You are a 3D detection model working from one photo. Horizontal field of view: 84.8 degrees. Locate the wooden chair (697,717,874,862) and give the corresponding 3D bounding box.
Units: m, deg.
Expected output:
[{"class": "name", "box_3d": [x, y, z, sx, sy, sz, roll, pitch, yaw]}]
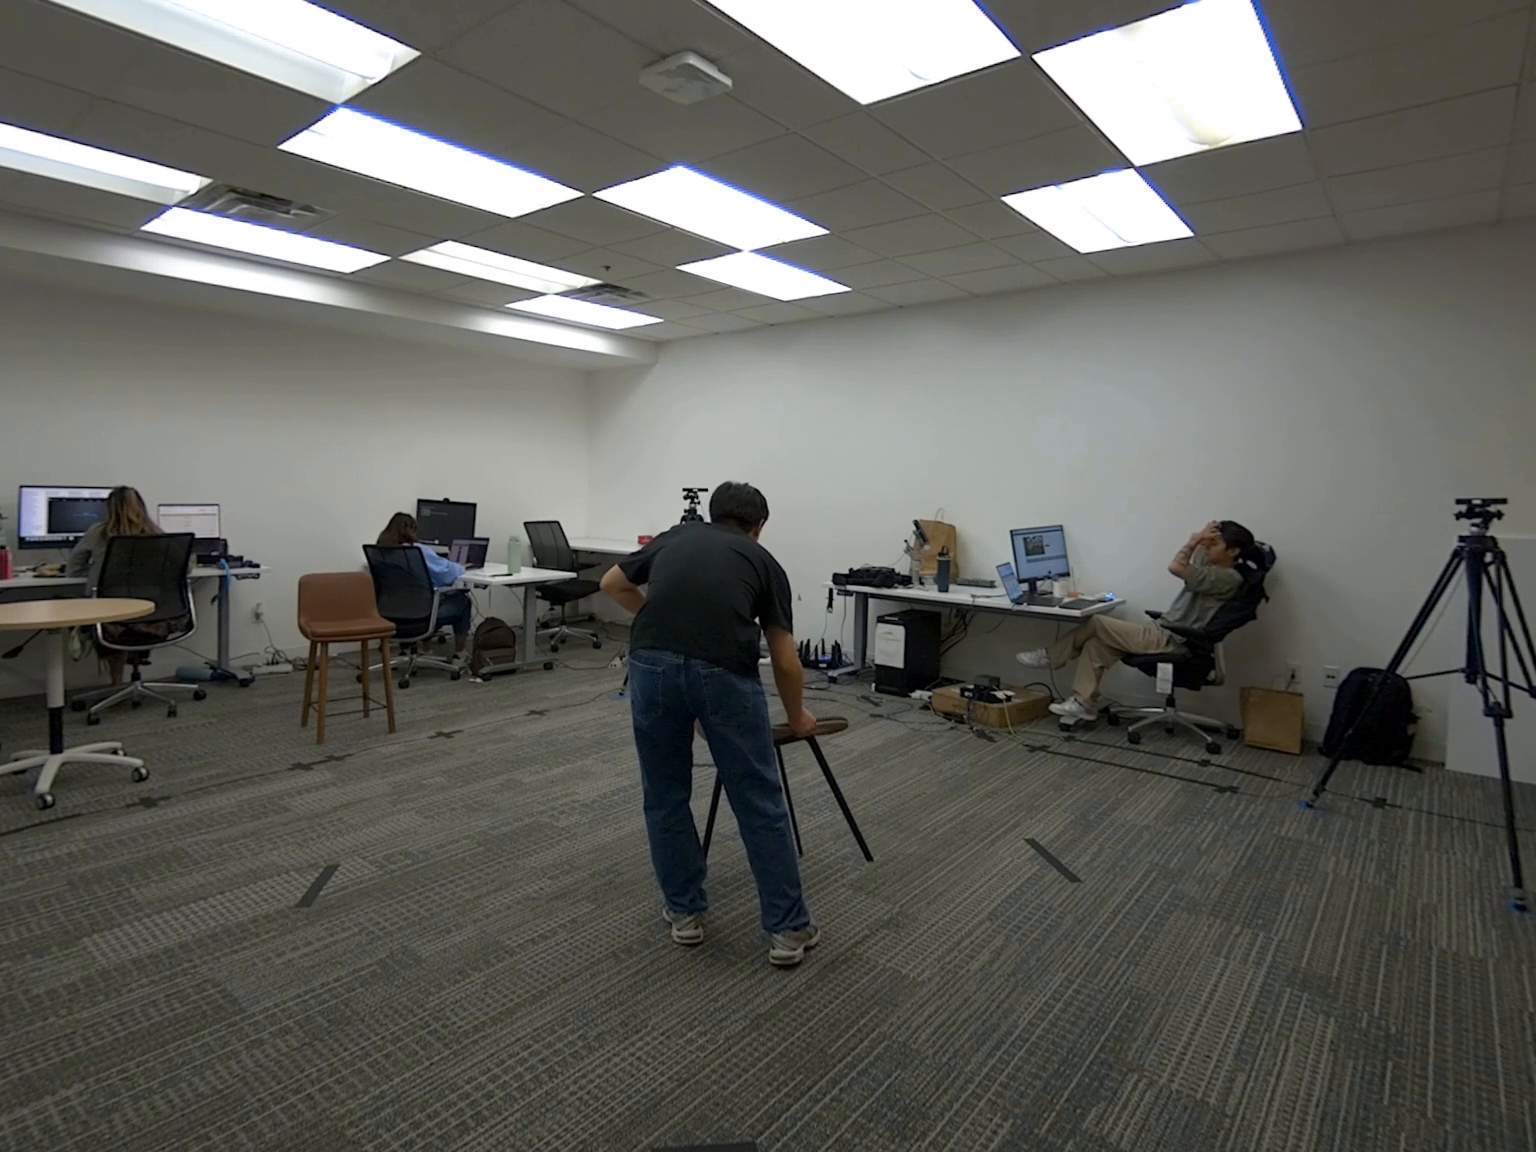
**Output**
[{"class": "wooden chair", "box_3d": [-0.010, 0.604, 3.058, 0.510, 0.889, 0.484, -6, -12, -31]}]
